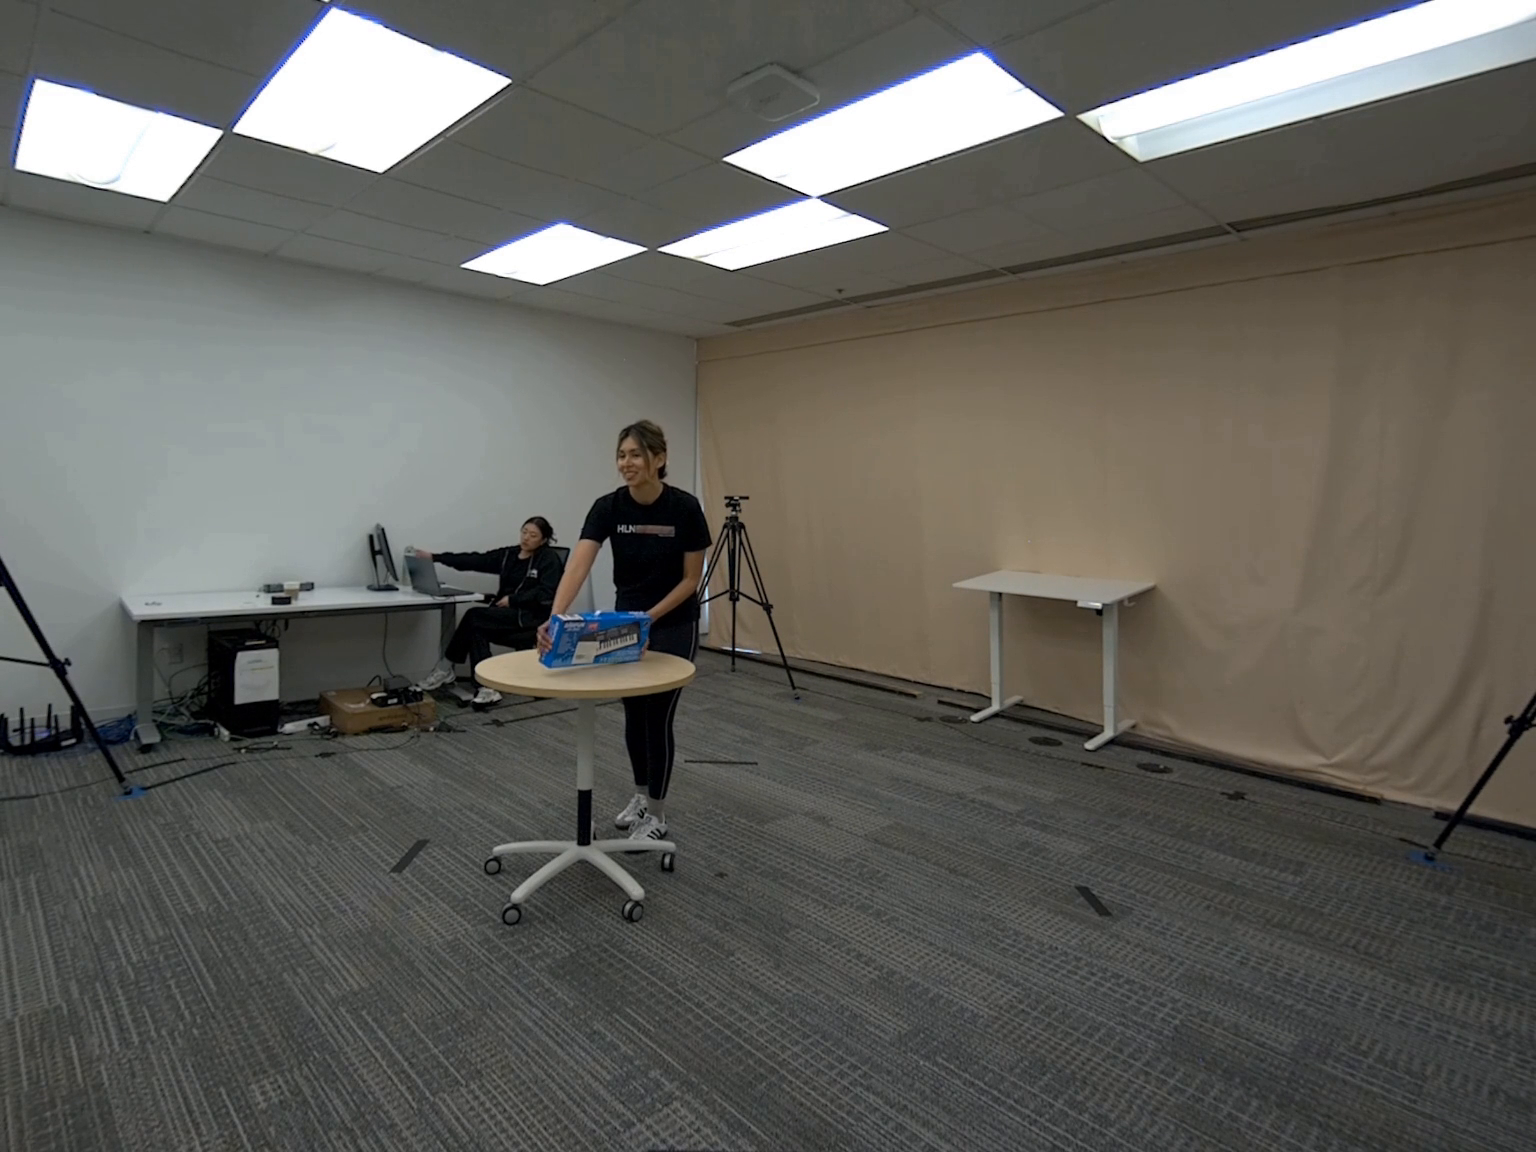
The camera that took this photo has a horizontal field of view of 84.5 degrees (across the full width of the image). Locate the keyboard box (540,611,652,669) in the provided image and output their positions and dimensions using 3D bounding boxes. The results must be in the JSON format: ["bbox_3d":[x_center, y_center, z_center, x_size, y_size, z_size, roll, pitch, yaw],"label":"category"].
[{"bbox_3d":[-0.604,0.217,2.929,0.061,0.175,0.426,24,12,33],"label":"keyboard box"}]
